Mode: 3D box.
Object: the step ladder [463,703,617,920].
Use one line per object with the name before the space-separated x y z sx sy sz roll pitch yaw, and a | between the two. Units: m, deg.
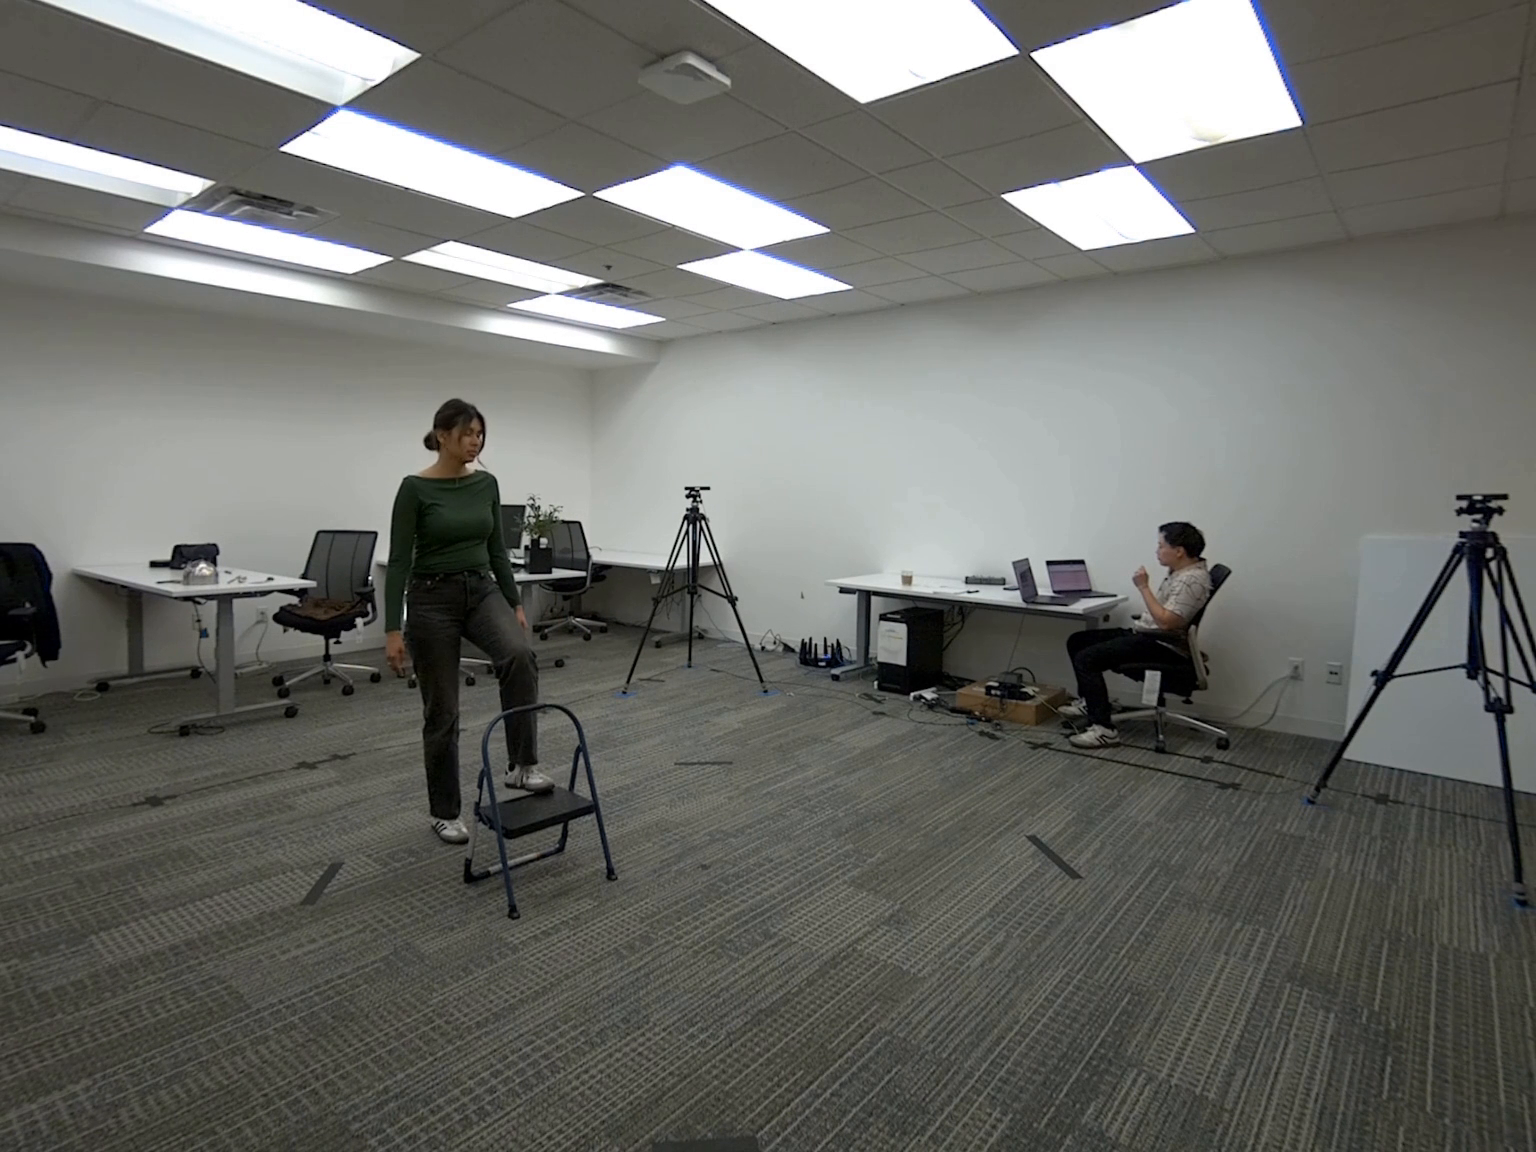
step ladder | -0.808 0.767 2.974 0.361 0.604 0.417 3 4 43
